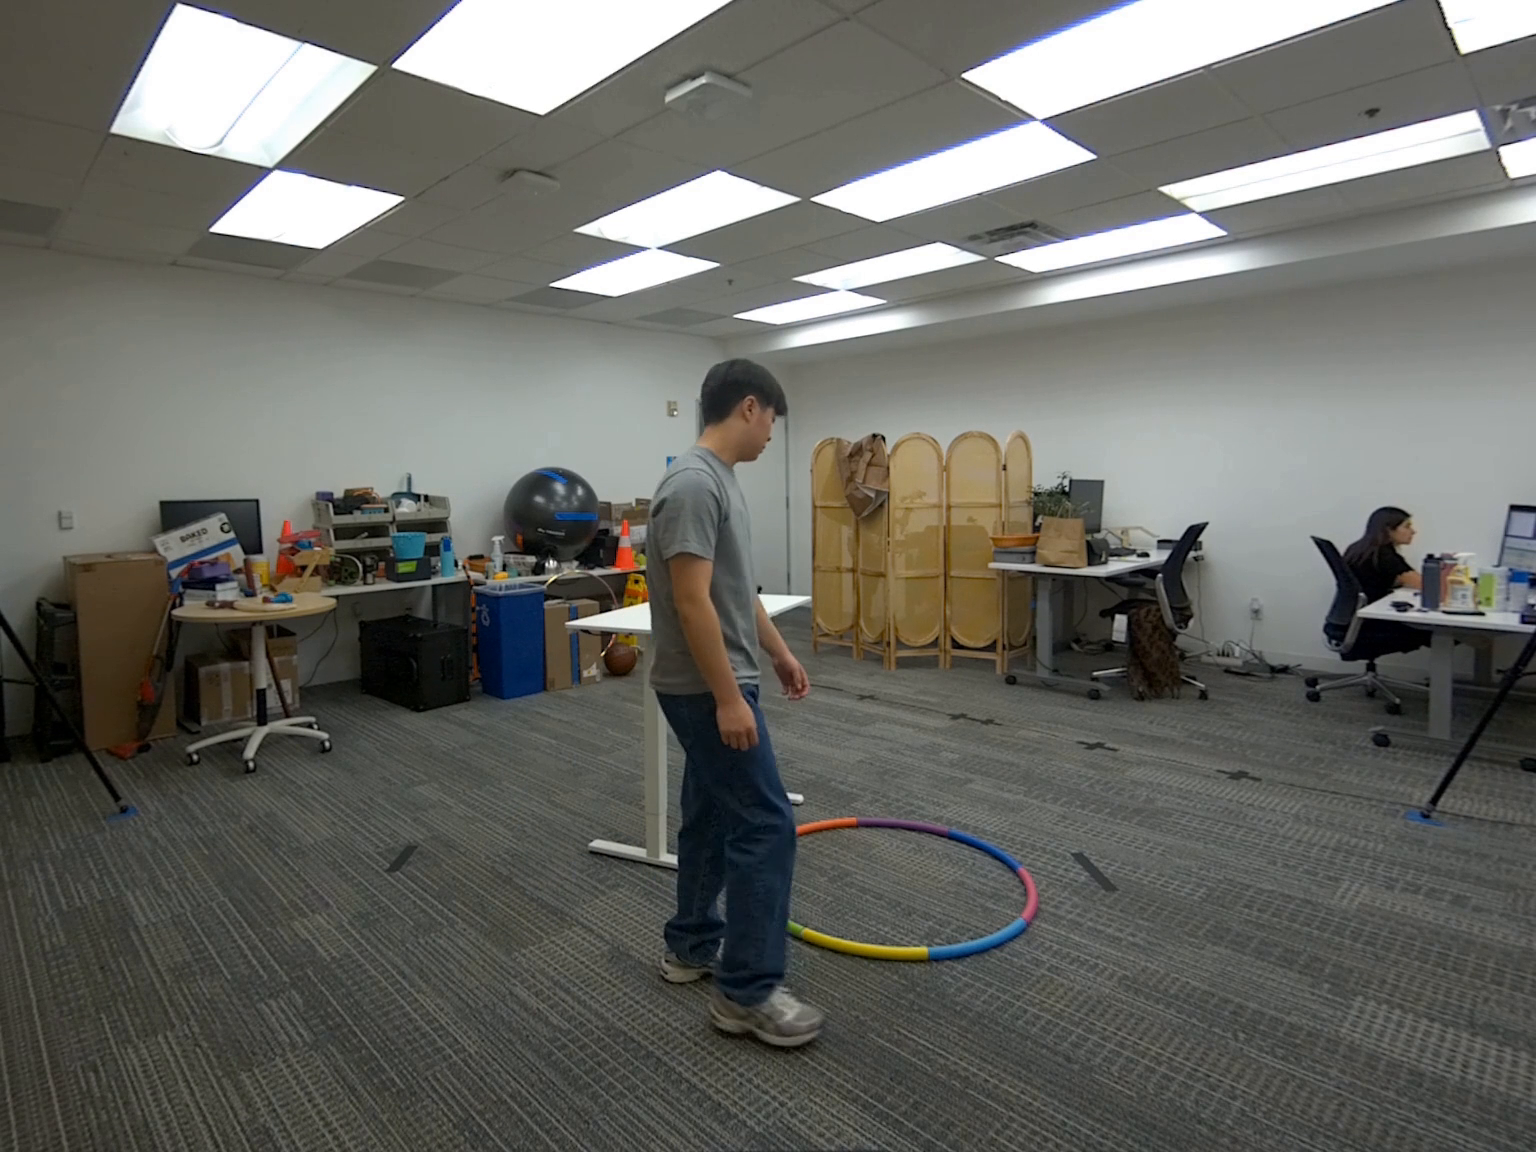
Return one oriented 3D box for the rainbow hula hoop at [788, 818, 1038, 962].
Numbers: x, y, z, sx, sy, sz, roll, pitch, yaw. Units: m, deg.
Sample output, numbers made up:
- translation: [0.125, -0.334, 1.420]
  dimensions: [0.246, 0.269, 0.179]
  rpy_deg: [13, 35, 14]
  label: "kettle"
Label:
- translation: [0.394, 1.026, 2.942]
  dimensions: [0.978, 0.035, 0.984]
  rpy_deg: [-1, 7, -2]
  label: "rainbow hula hoop"
